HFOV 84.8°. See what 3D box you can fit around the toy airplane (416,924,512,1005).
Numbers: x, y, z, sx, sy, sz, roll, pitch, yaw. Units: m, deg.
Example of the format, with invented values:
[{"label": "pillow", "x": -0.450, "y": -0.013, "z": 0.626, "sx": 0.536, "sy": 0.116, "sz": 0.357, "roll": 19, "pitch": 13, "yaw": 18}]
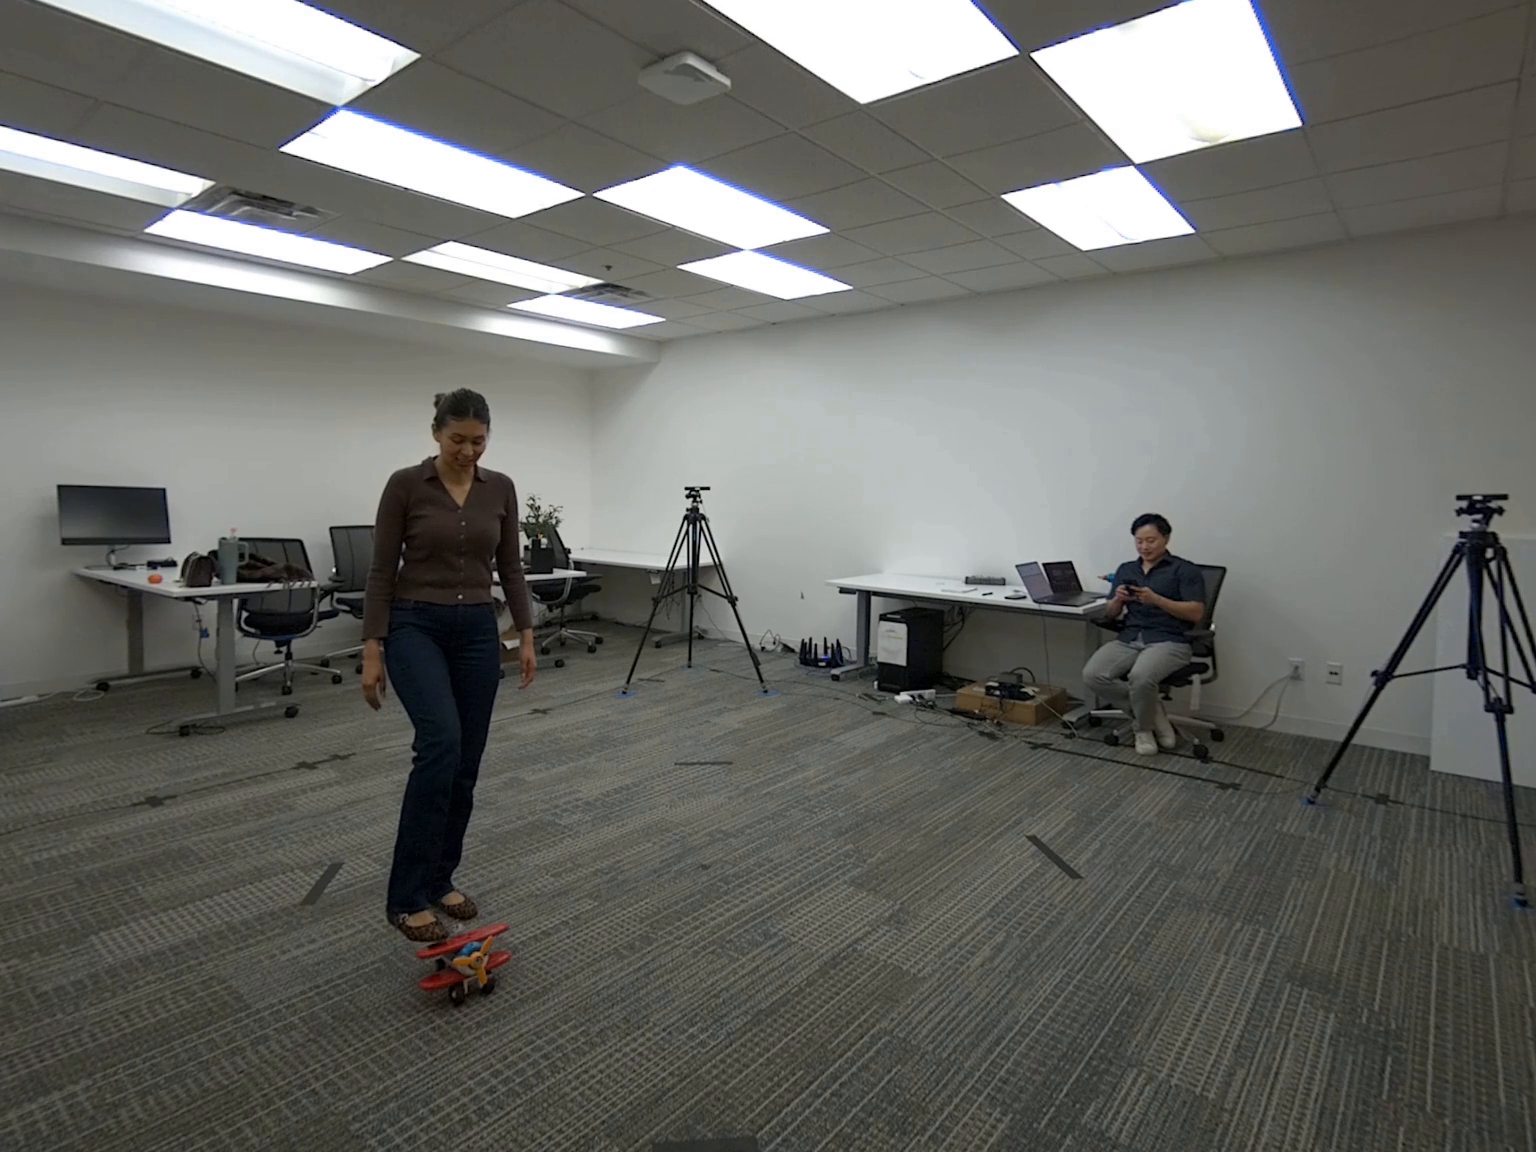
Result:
[{"label": "toy airplane", "x": -0.879, "y": 1.062, "z": 2.351, "sx": 0.265, "sy": 0.156, "sz": 0.247, "roll": 3, "pitch": 6, "yaw": 21}]
